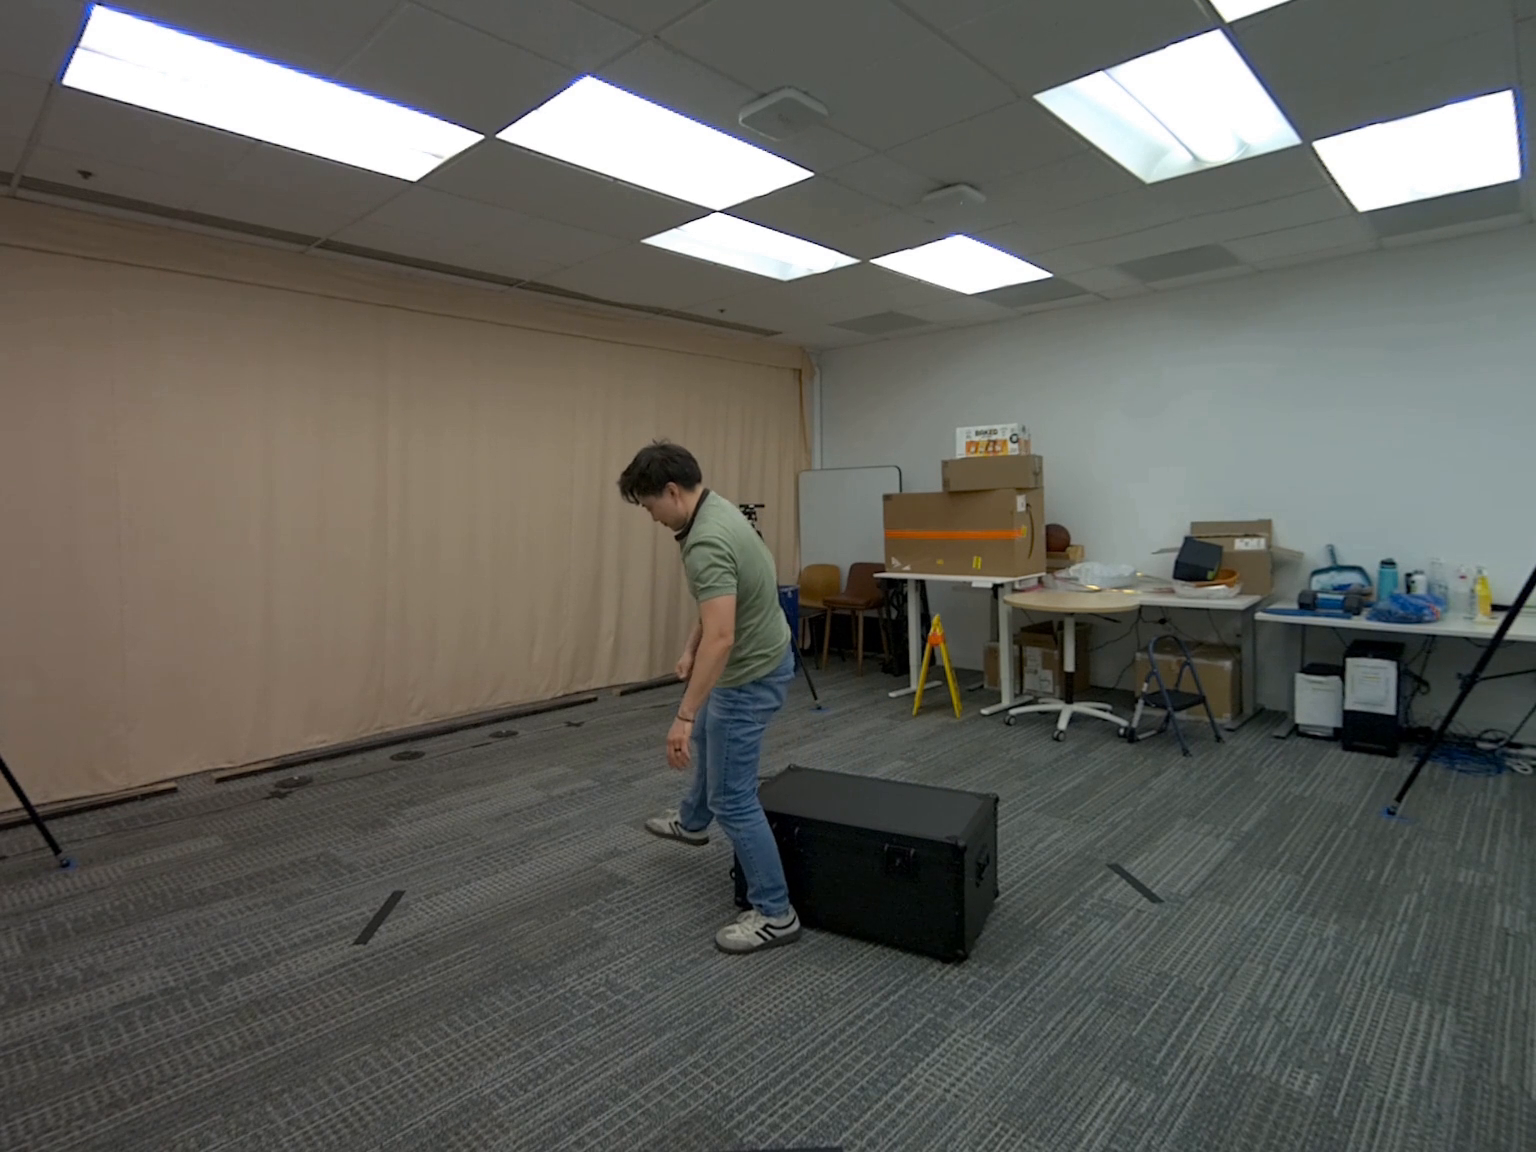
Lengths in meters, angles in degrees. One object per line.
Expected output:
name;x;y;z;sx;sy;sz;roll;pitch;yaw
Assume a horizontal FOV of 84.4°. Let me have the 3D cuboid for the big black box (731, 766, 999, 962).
big black box;0.315;0.947;2.904;0.885;0.395;0.508;2;5;28
